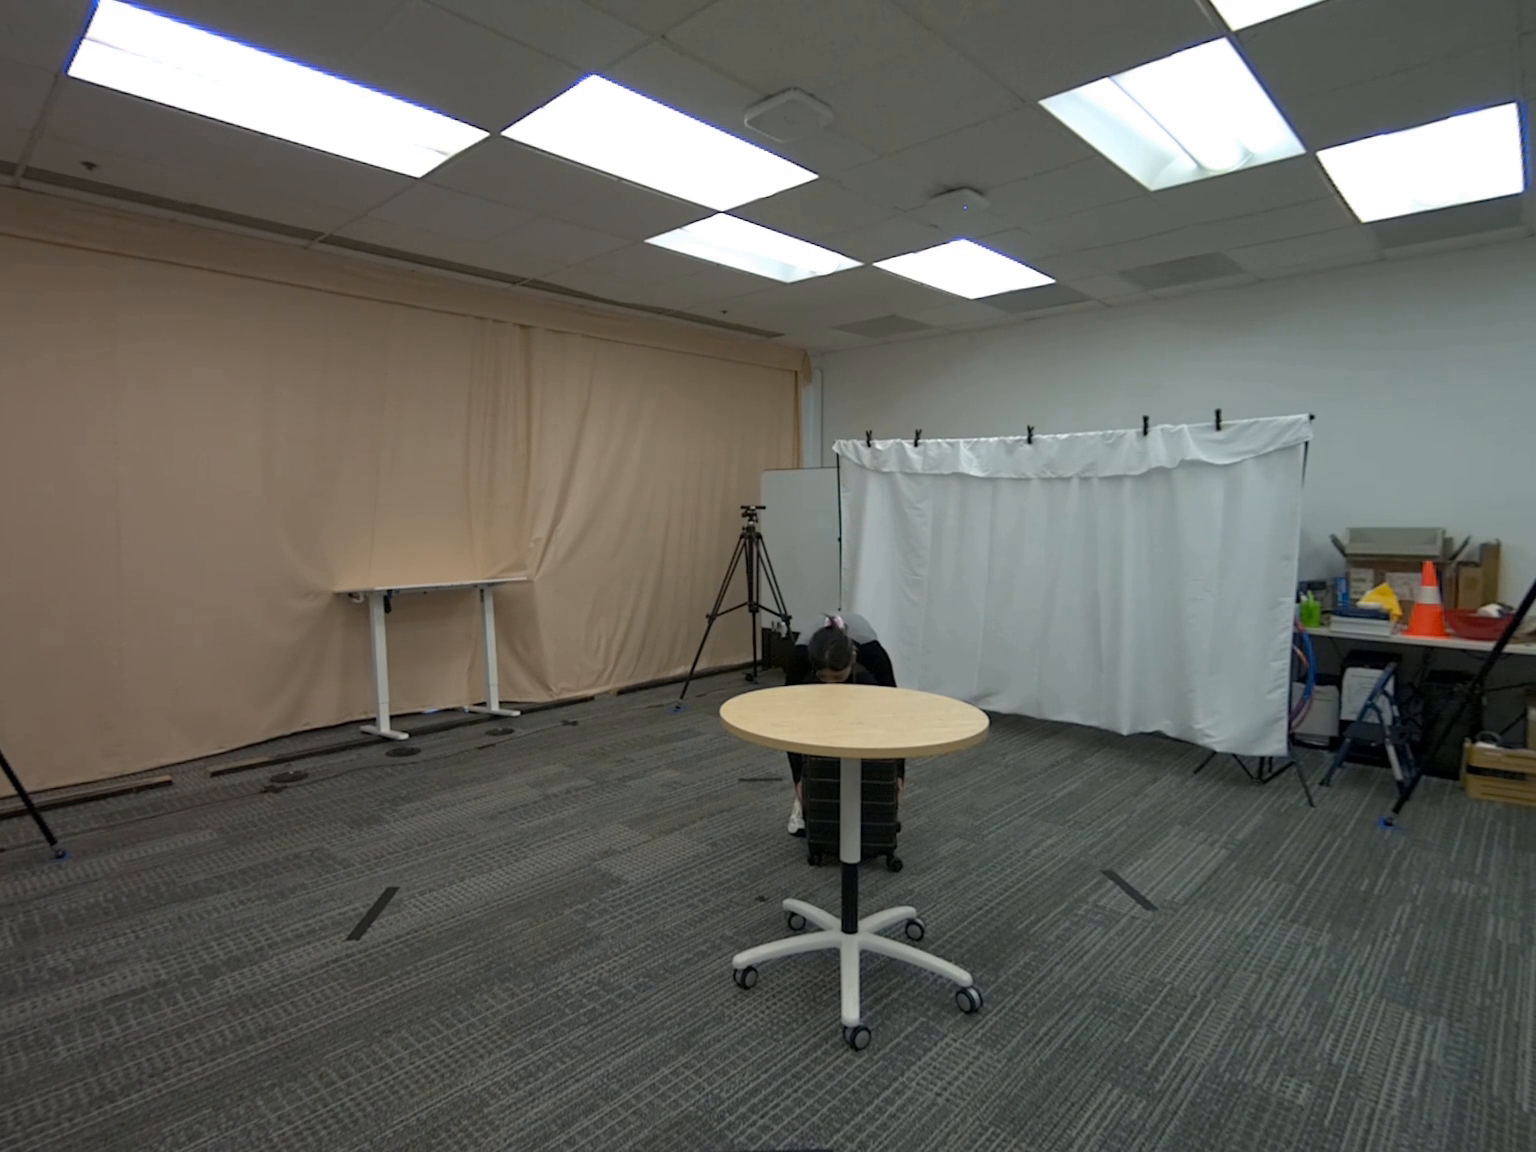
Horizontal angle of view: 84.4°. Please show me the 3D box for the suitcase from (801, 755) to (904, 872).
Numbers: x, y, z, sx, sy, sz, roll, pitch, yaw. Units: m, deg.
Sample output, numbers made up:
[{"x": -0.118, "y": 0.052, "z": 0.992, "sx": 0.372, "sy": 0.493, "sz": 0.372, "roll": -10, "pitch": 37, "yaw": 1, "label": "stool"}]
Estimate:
[{"x": 0.333, "y": 0.841, "z": 3.329, "sx": 0.378, "sy": 0.548, "sz": 0.247, "roll": 0, "pitch": 2, "yaw": 5, "label": "suitcase"}]
